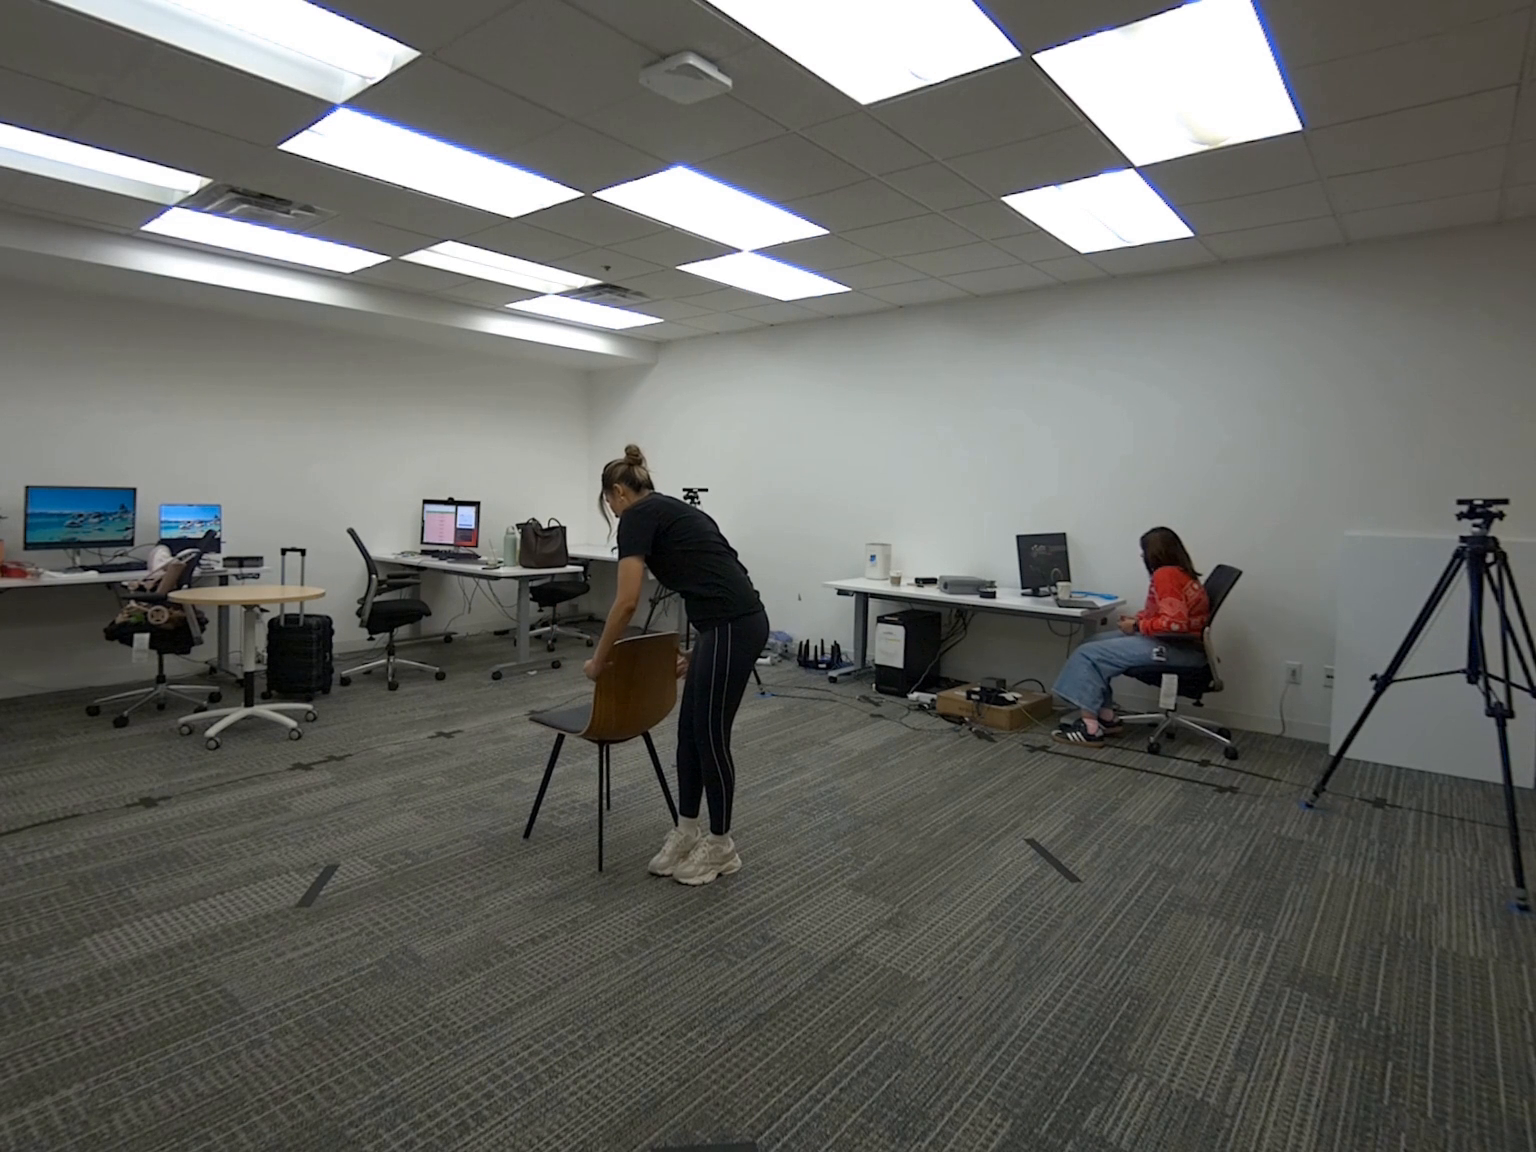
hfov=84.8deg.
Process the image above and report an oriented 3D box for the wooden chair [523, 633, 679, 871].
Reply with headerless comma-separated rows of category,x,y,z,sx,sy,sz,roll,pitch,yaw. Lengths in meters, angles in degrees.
wooden chair,-0.662,0.609,3.360,0.542,0.873,0.464,10,8,39
